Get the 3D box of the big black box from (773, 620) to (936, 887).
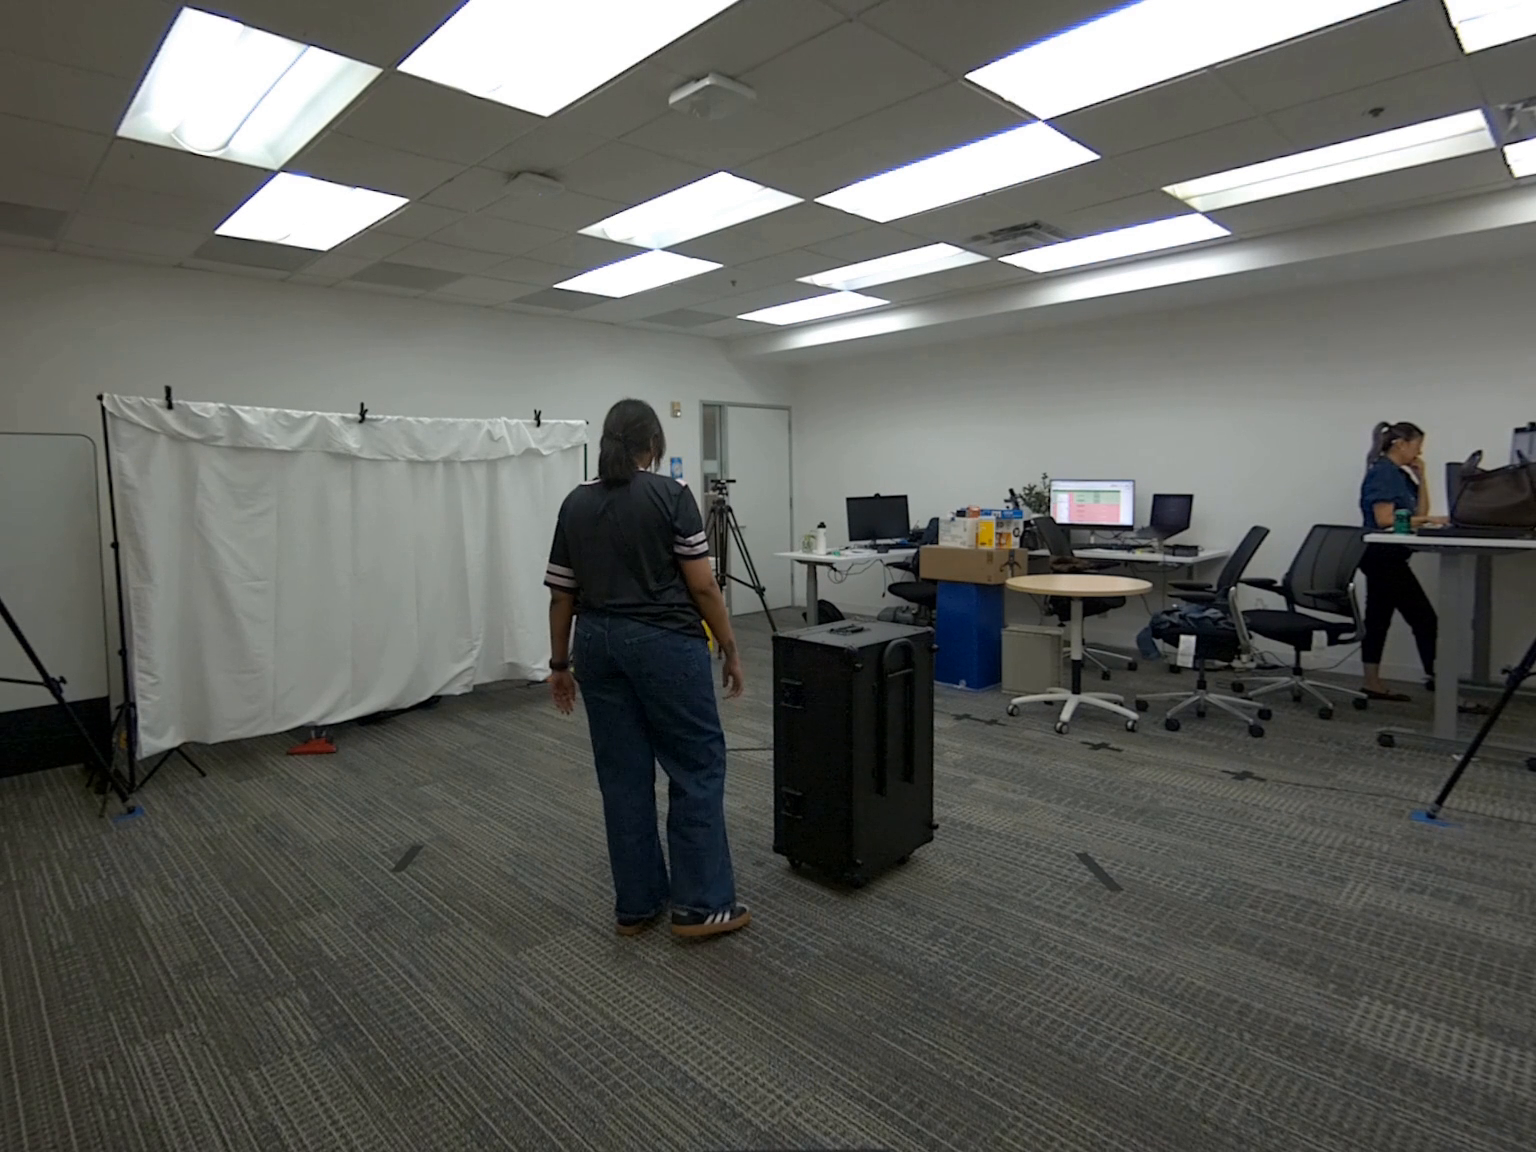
[{"bbox_3d":[0.324,0.622,3.055,0.409,0.858,0.507,5,7,45],"label":"big black box"}]
